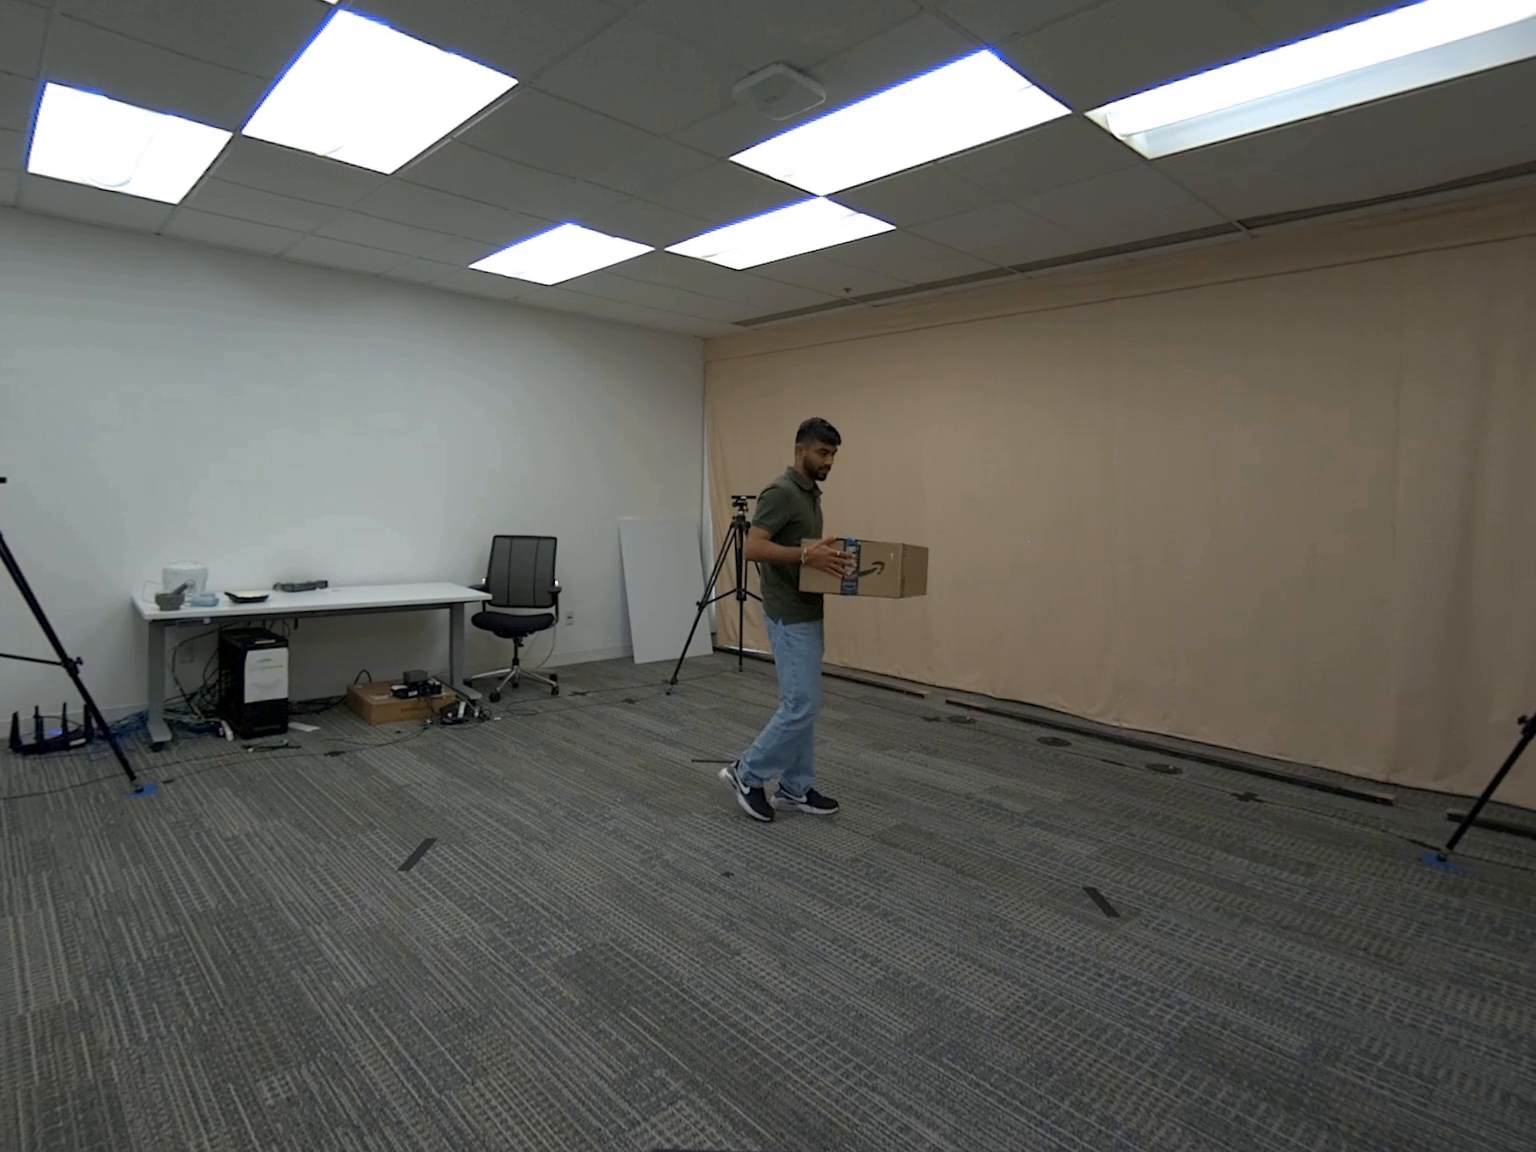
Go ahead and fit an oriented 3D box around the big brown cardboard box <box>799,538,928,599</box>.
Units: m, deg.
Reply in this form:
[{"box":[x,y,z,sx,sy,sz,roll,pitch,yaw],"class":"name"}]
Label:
[{"box":[0.404,-0.034,3.566,0.424,0.233,0.579,4,0,20],"class":"big brown cardboard box"}]
